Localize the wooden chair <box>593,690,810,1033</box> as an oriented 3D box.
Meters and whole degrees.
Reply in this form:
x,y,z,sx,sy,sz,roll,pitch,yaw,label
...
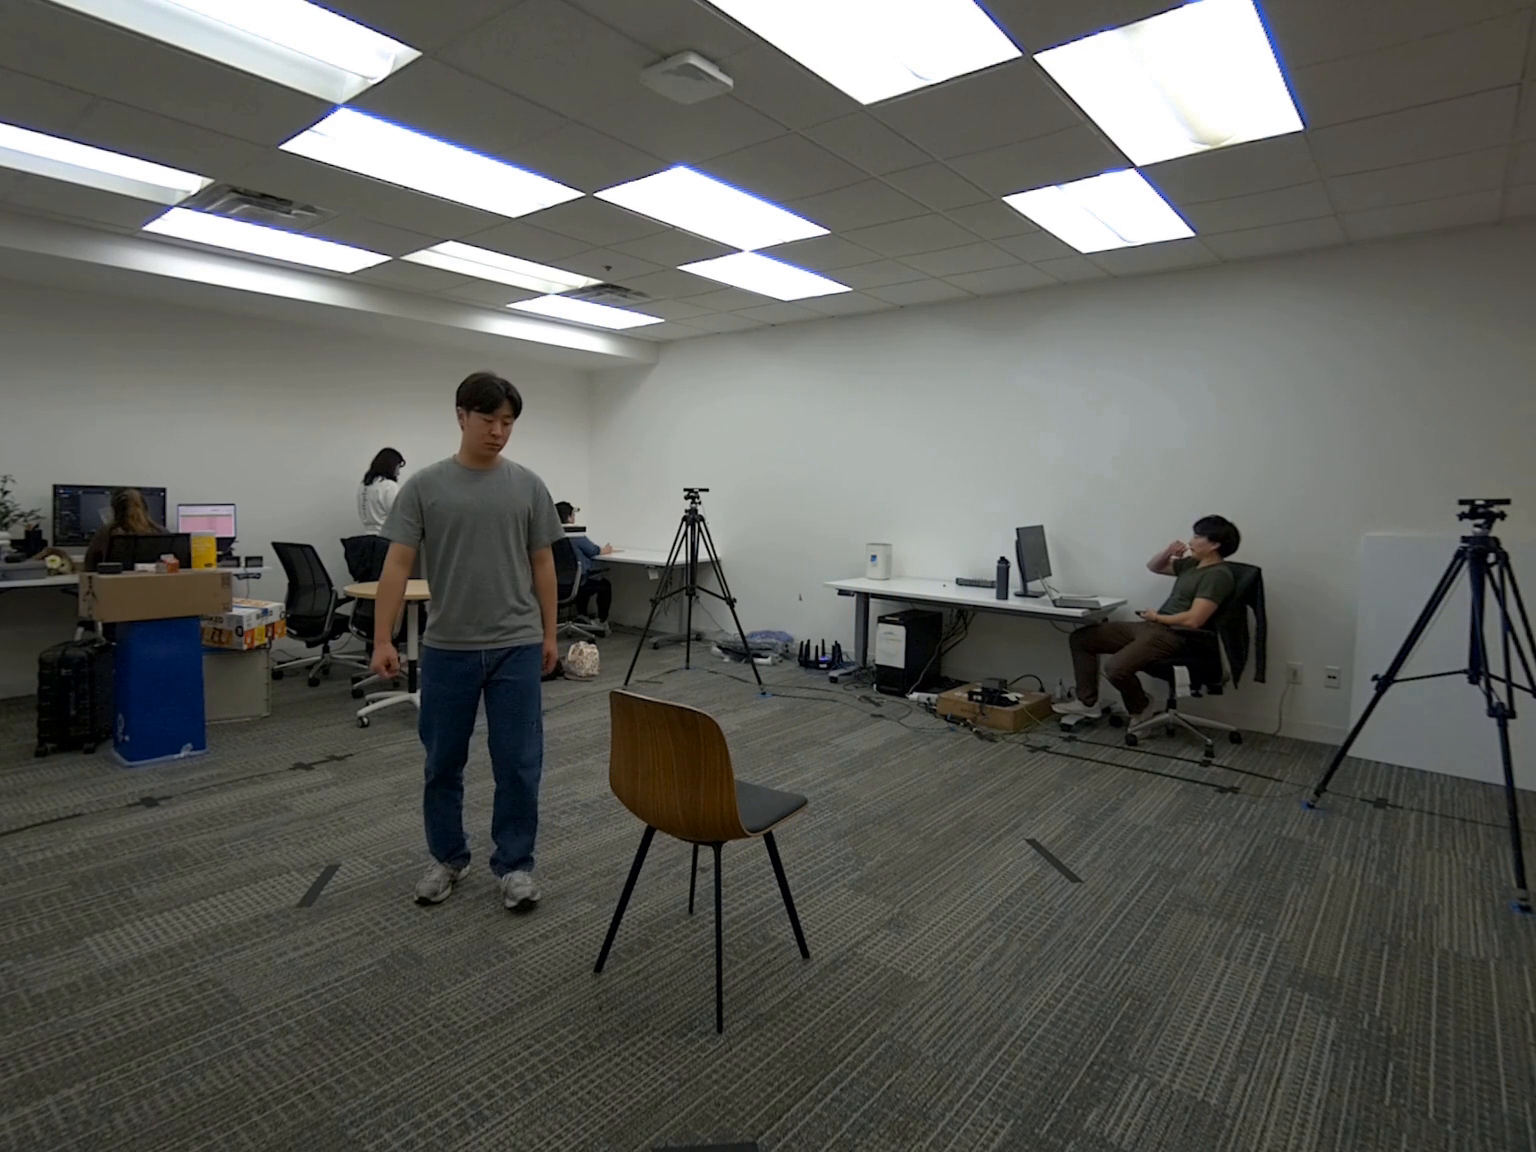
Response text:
x,y,z,sx,sy,sz,roll,pitch,yaw,label
-0.185,0.706,2.460,0.493,0.871,0.510,3,9,34,wooden chair
